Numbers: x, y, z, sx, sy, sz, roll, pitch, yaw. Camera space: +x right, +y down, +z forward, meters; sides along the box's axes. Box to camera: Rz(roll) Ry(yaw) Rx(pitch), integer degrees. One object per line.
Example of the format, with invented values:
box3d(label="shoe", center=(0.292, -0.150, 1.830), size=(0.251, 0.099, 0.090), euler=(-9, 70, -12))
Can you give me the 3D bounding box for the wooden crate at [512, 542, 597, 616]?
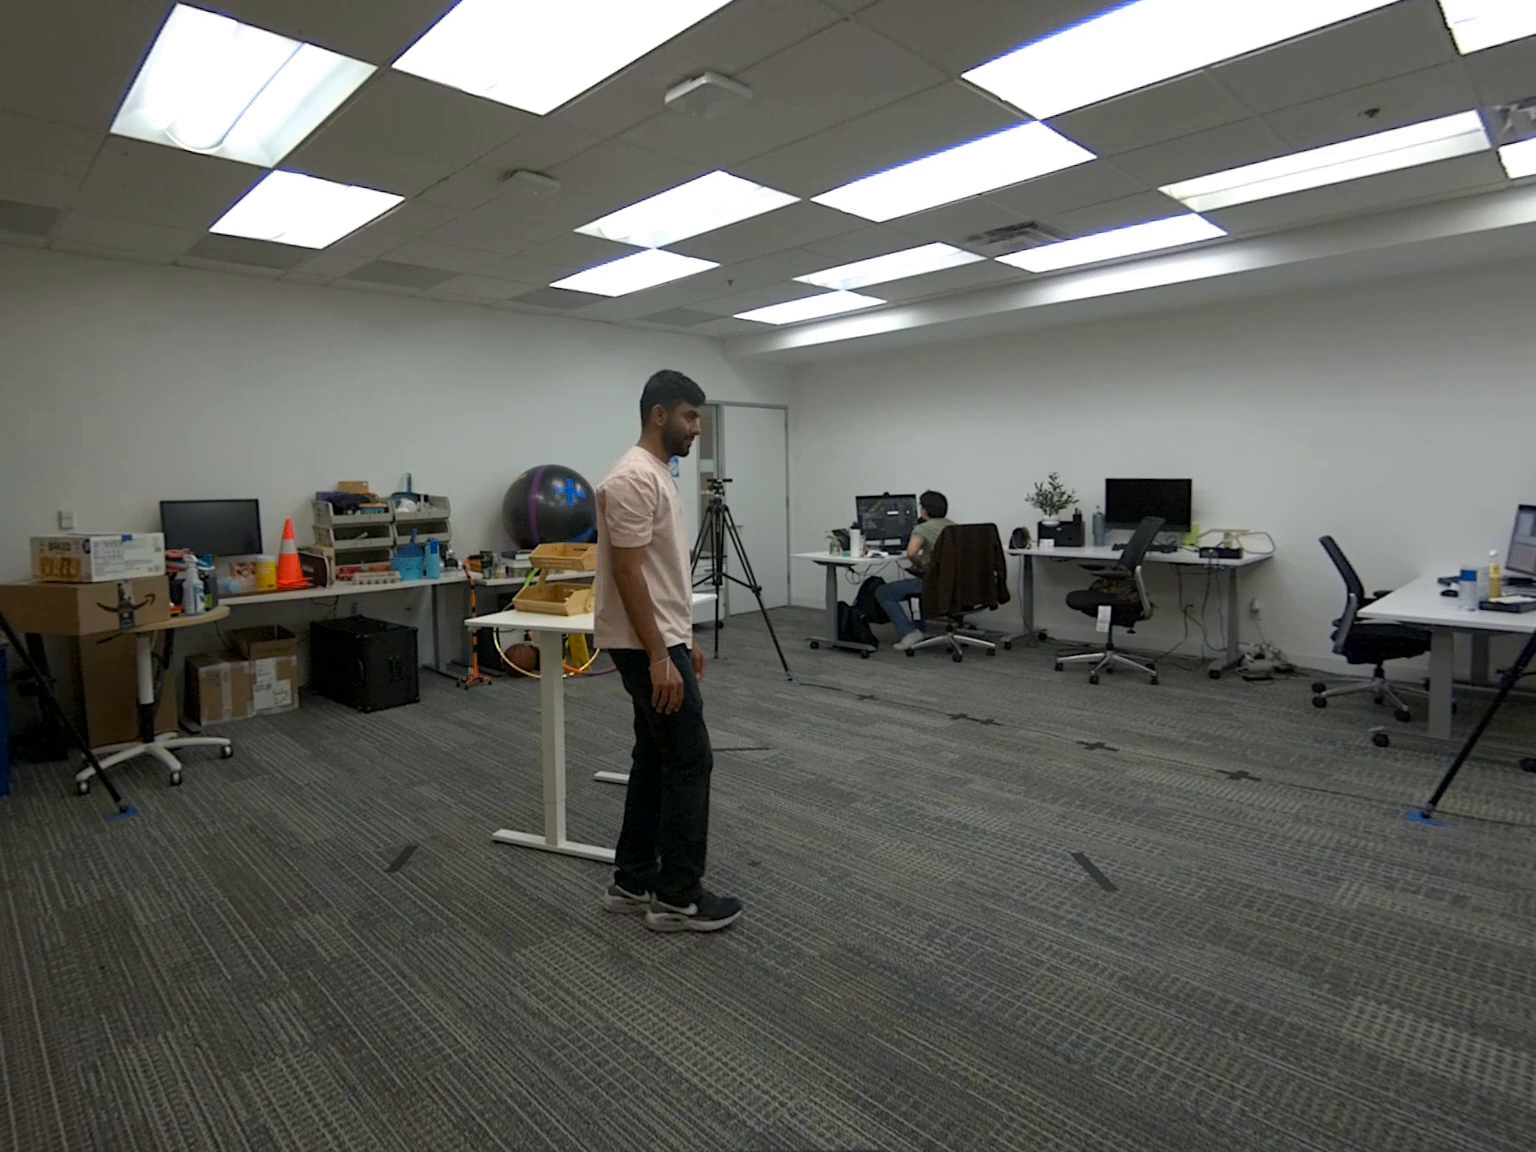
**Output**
box3d(label="wooden crate", center=(-0.821, 0.005, 3.459), size=(0.333, 0.272, 0.295), euler=(2, 5, 34))
